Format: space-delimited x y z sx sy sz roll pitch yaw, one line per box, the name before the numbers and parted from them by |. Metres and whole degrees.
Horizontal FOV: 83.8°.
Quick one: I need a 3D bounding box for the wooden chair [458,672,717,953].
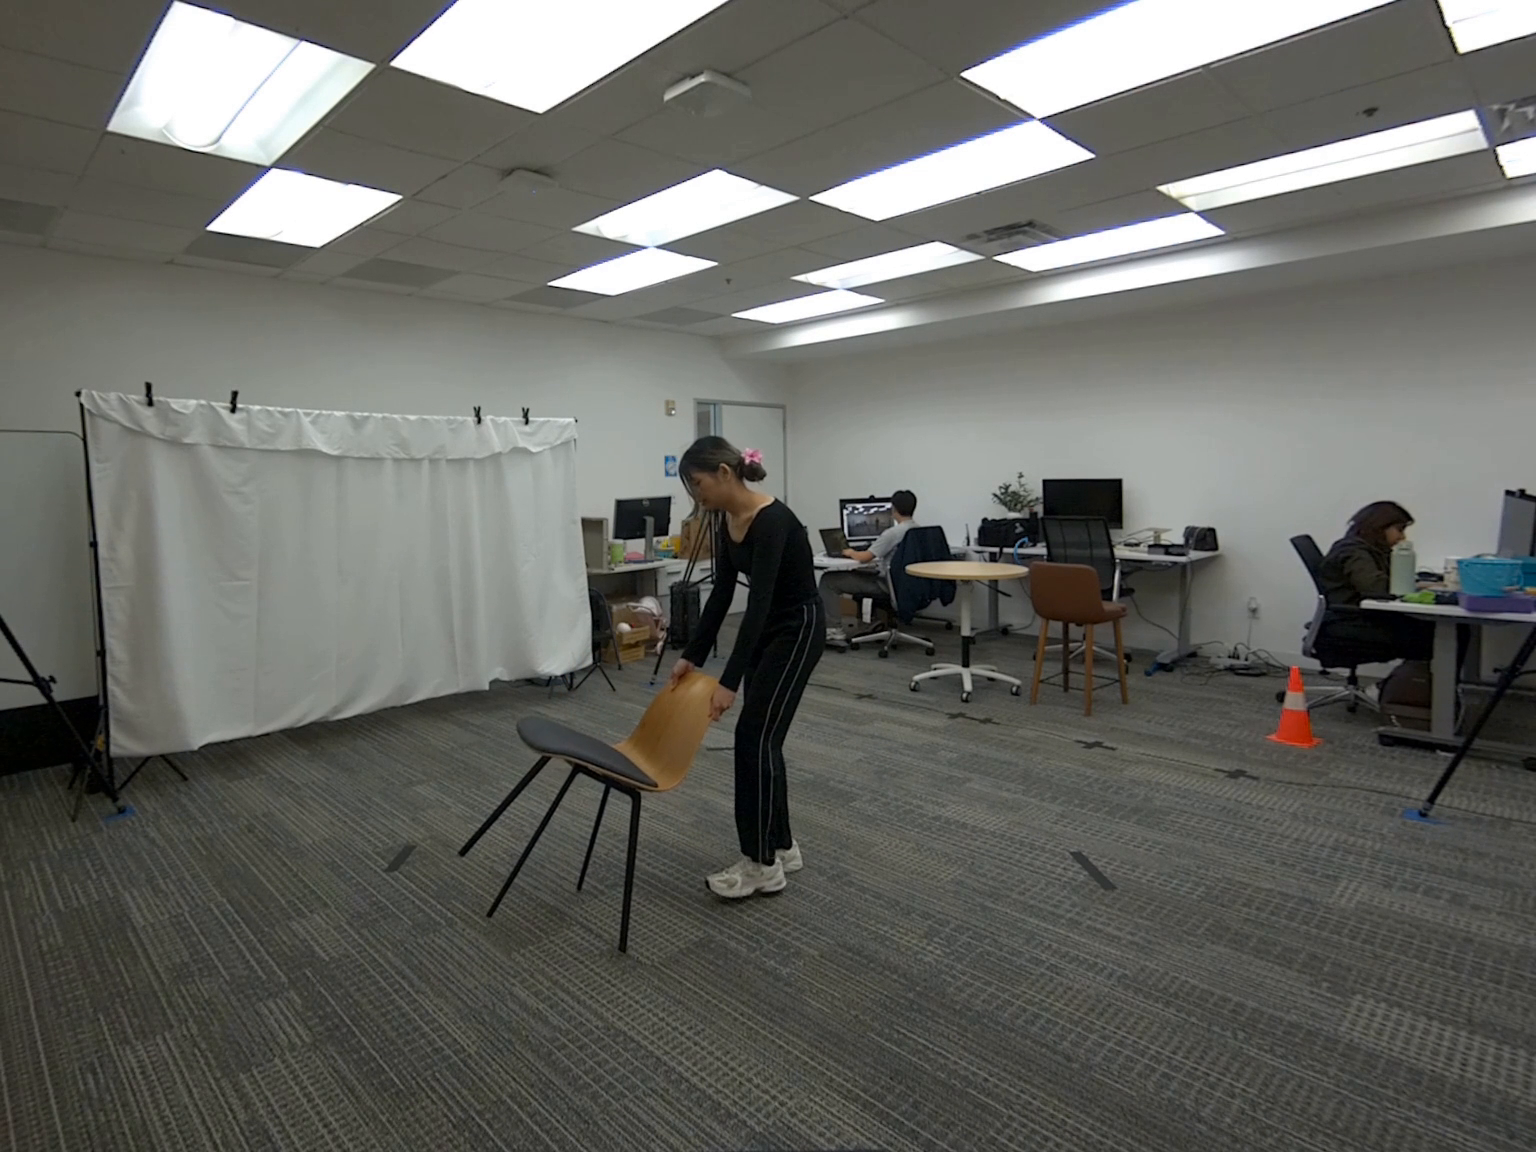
wooden chair | -0.540 0.613 2.688 0.507 0.880 0.491 33 -11 -26
